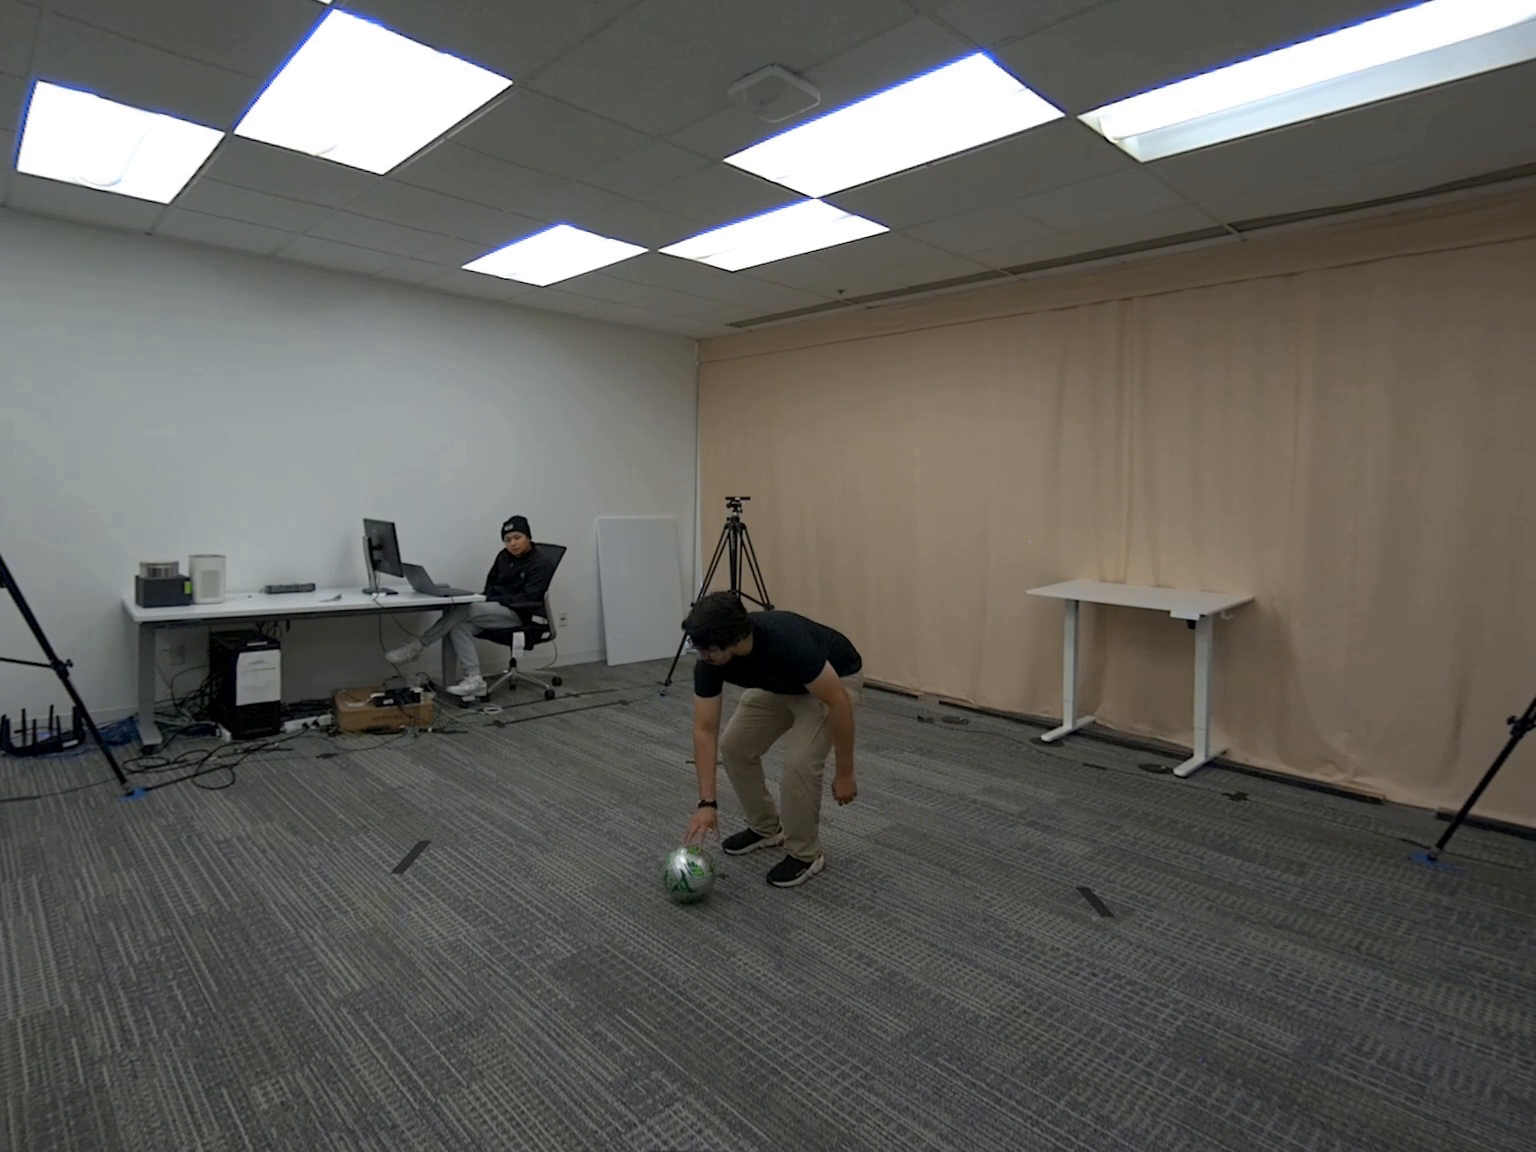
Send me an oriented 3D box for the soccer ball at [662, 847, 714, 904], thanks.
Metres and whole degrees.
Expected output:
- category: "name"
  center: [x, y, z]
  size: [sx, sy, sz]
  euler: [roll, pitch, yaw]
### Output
- category: "soccer ball"
  center: [-0.288, 1.030, 2.909]
  size: [0.187, 0.187, 0.188]
  euler: [1, 4, -1]
